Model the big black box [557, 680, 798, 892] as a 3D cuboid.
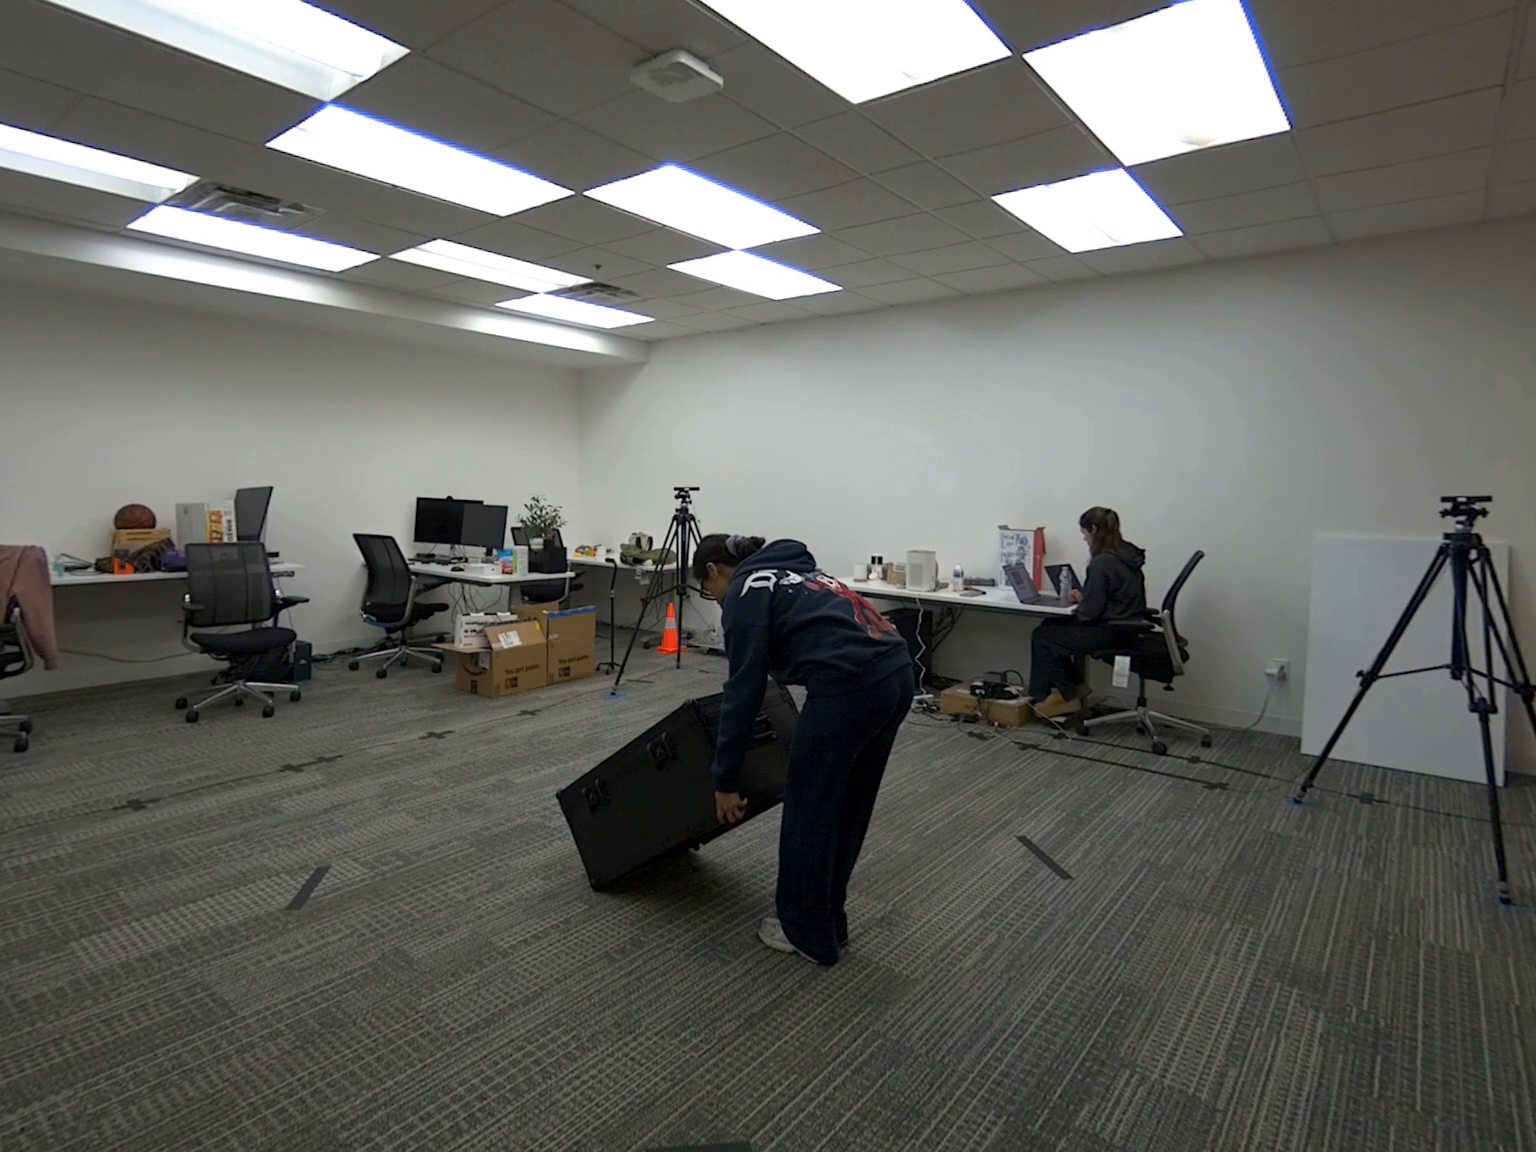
[{"bbox_3d":[-0.306,0.737,2.960,0.866,0.406,0.506,-38,-20,34],"label":"big black box"}]
